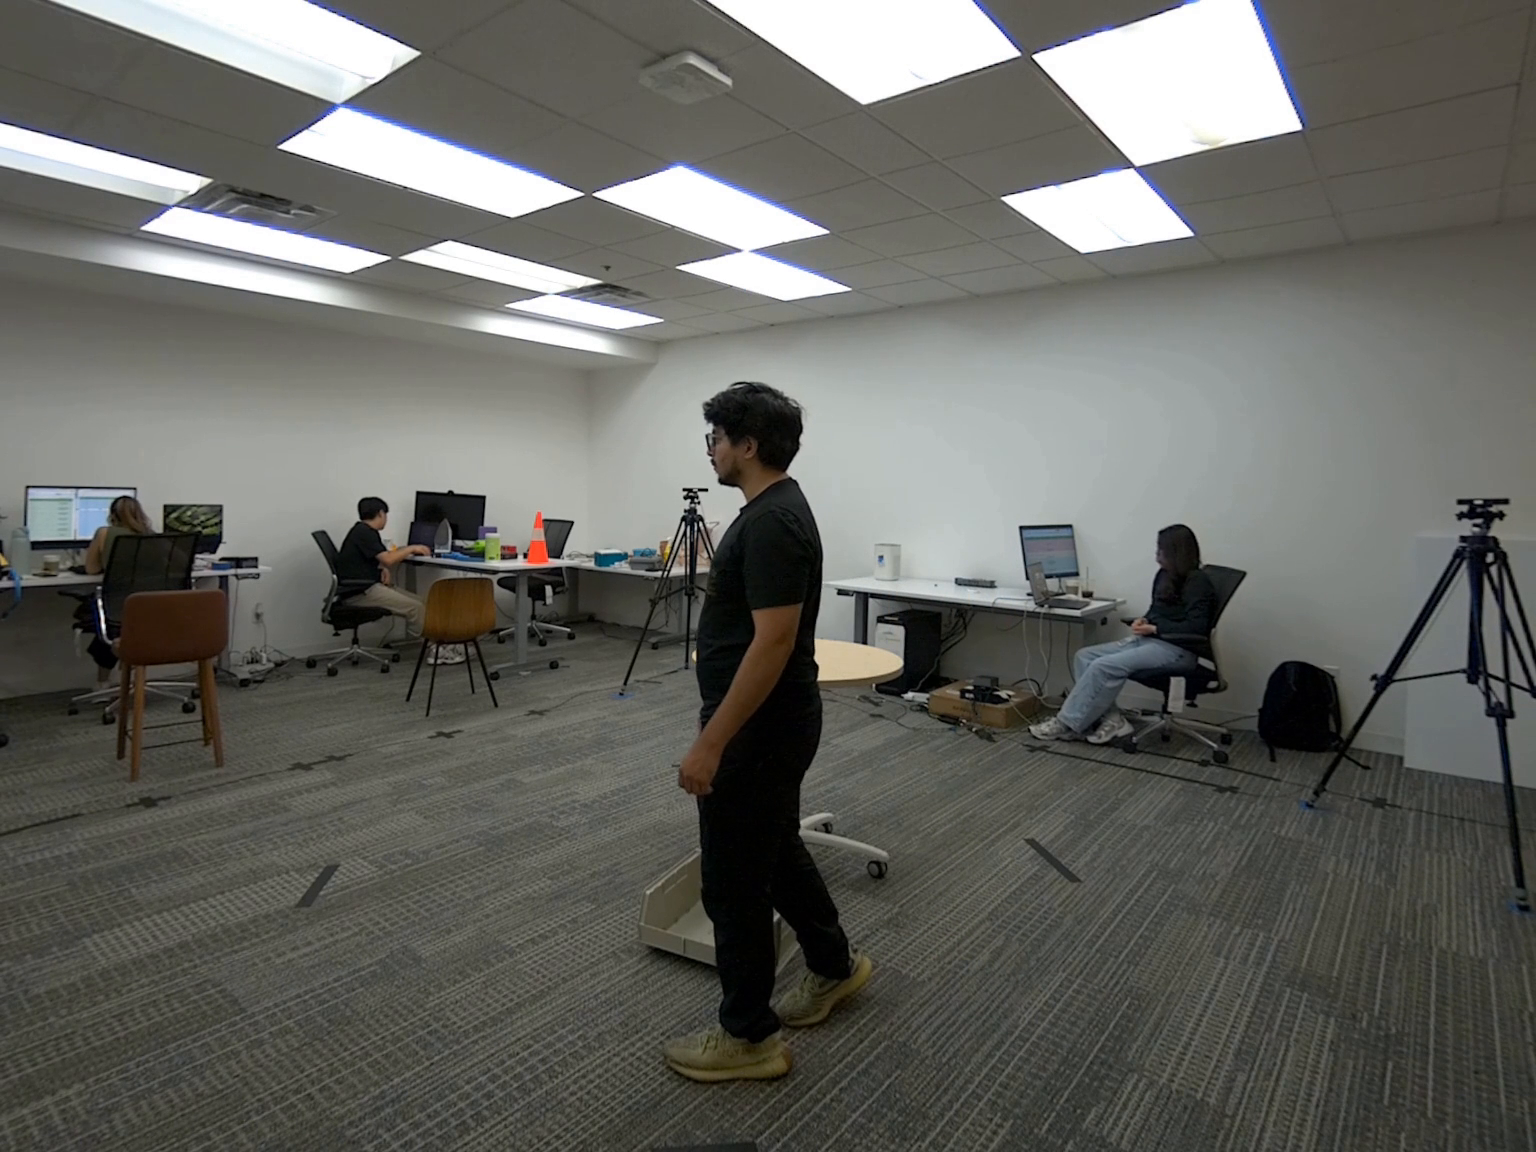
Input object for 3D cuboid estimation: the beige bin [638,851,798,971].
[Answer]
[{"bbox_3d":[-0.131,1.032,2.602,0.433,0.188,0.369,3,4,25],"label":"beige bin"}]
